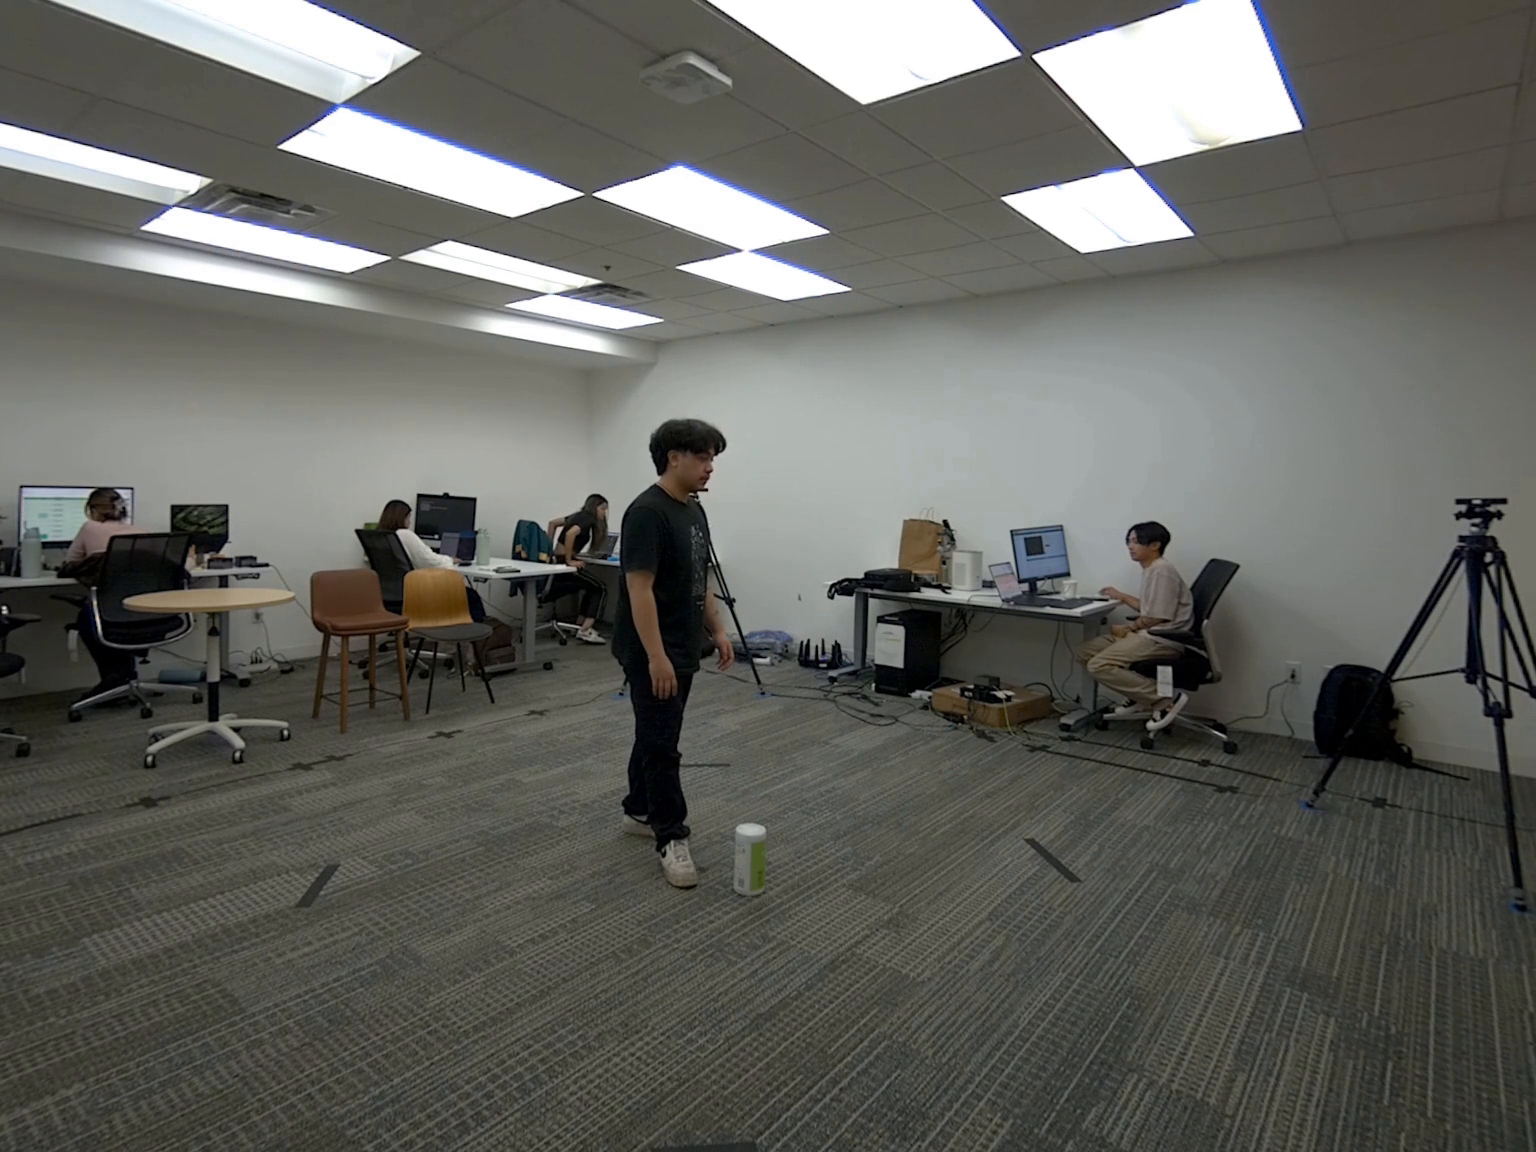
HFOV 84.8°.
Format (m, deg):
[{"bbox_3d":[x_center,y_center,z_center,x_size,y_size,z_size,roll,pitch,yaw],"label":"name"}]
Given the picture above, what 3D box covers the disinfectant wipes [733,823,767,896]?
[{"bbox_3d":[-0.070,0.985,2.953,0.117,0.217,0.118,3,3,-2],"label":"disinfectant wipes"}]
